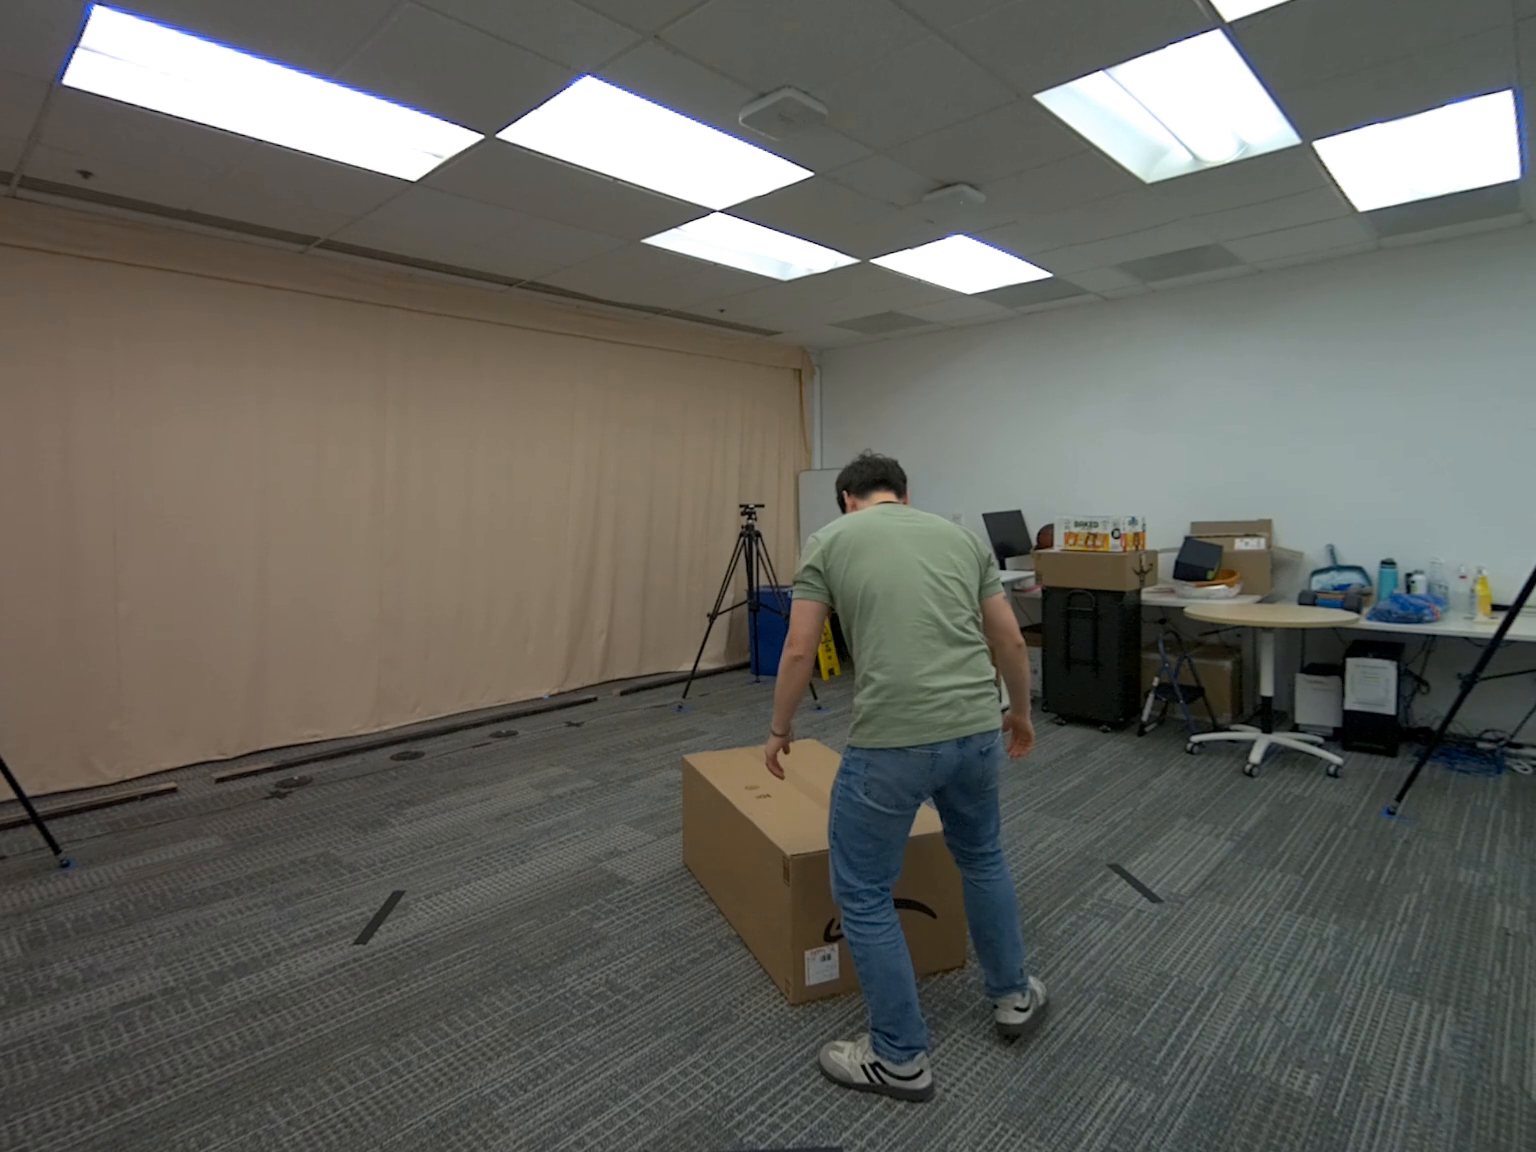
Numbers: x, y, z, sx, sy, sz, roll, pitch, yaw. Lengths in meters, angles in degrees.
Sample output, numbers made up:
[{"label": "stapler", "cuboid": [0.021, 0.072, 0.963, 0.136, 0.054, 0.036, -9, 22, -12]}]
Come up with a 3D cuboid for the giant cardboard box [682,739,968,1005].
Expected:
[{"label": "giant cardboard box", "cuboid": [0.134, 0.929, 2.890, 0.566, 0.425, 1.050, -3, 5, -22]}]
